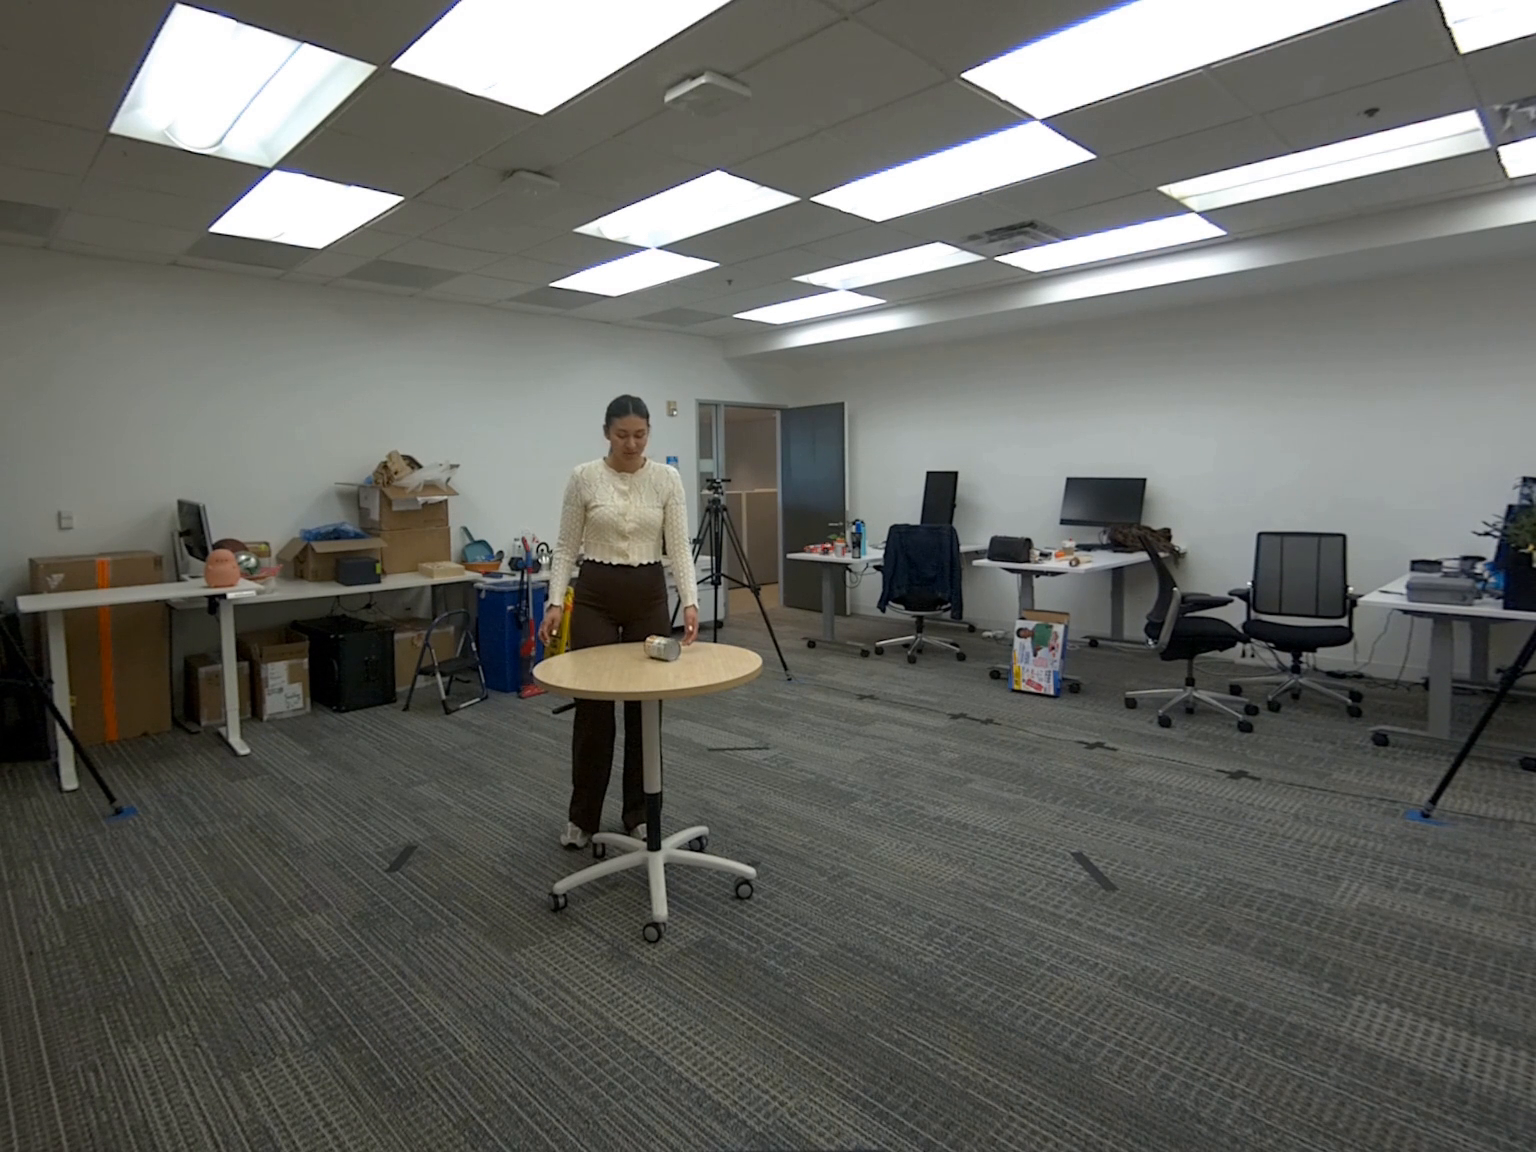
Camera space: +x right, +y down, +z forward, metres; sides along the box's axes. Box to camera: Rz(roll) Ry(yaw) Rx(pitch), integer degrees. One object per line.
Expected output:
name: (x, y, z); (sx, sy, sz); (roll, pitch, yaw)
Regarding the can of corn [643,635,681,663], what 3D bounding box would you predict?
can of corn: (-0.359, 0.246, 2.934); (0.114, 0.074, 0.072); (4, 7, 42)
